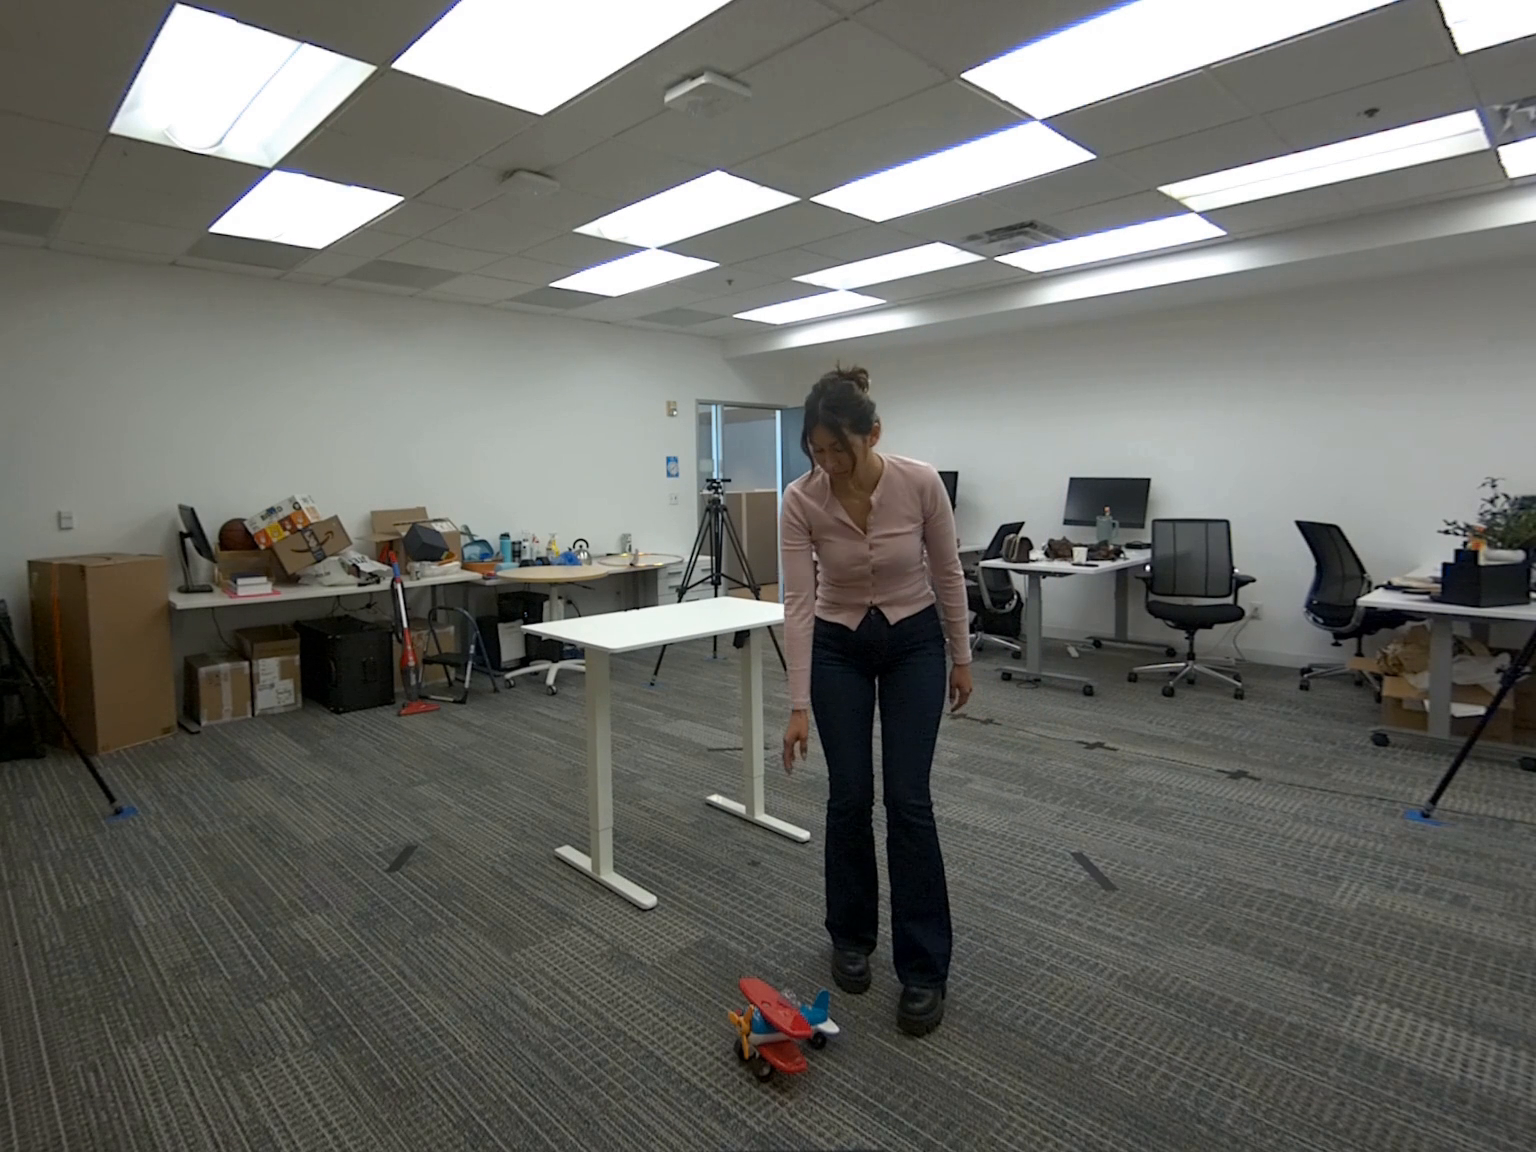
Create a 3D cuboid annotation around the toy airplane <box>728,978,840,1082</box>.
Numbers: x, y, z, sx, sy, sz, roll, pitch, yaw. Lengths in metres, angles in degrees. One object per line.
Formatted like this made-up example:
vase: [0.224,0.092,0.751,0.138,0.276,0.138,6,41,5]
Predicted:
toy airplane: [0.037,1.091,2.075,0.258,0.155,0.254,2,8,30]
